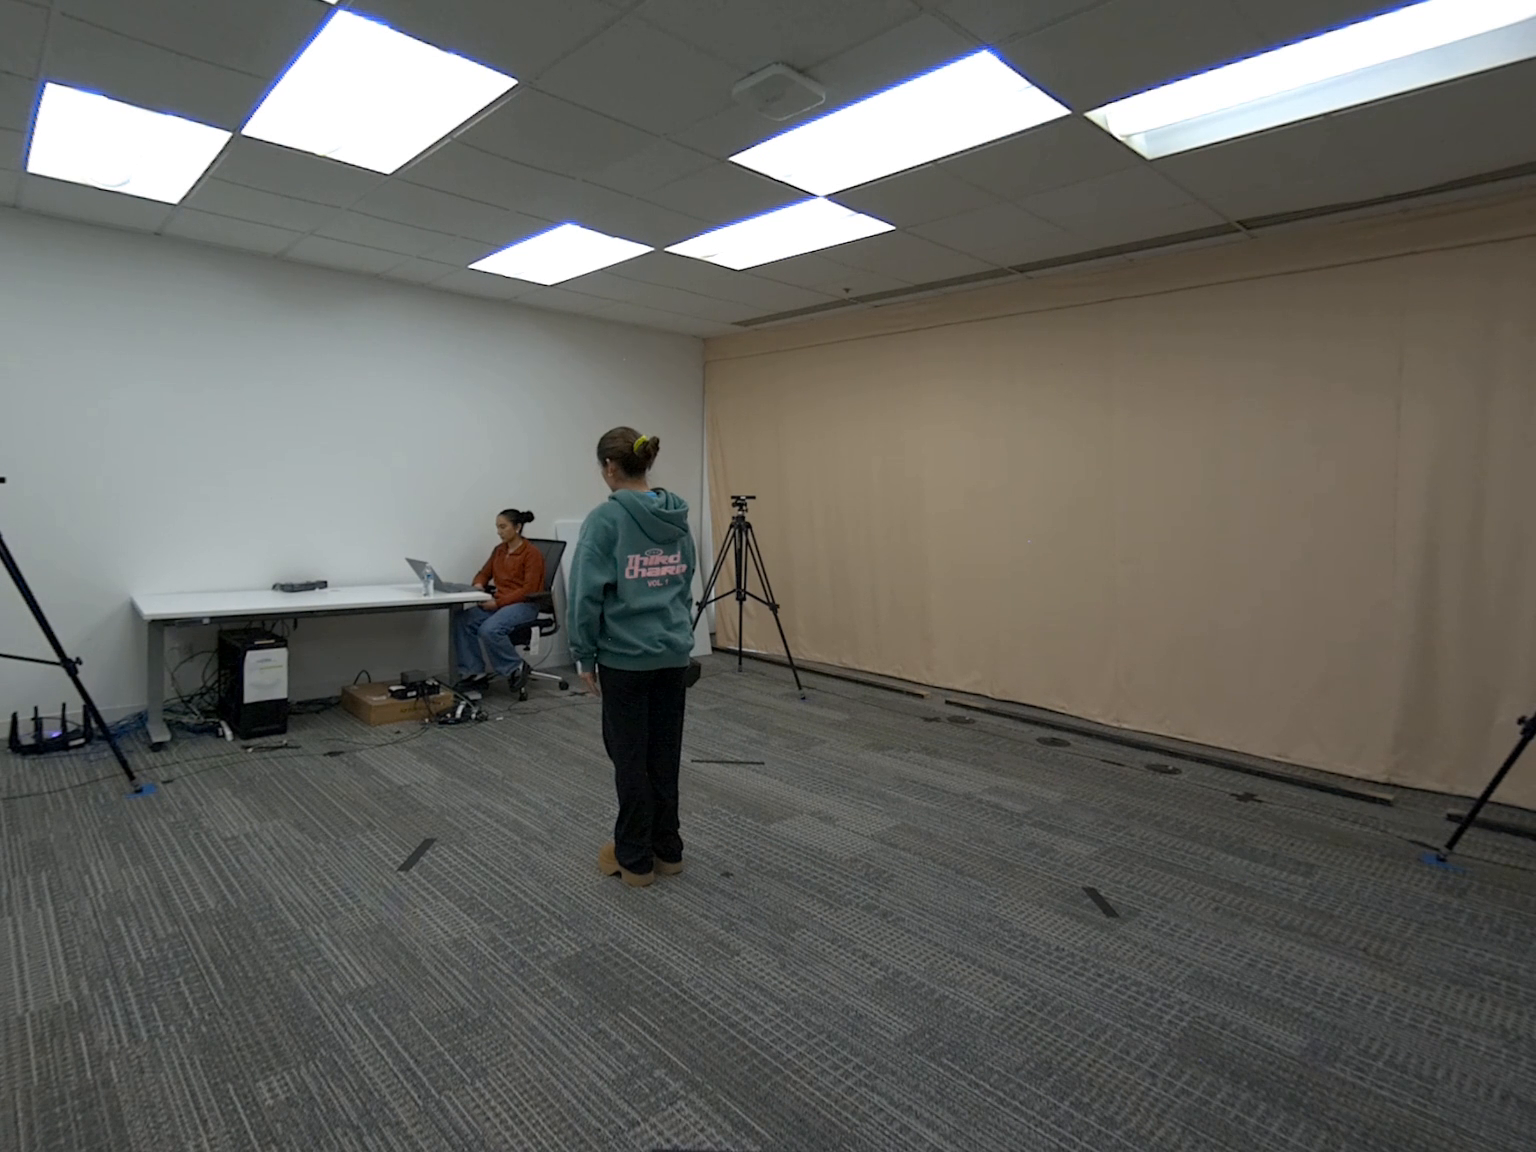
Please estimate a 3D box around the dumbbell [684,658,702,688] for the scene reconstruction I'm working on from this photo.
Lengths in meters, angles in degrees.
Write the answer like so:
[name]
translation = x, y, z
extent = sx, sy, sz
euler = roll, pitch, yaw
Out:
[dumbbell]
translation = -0.398, 0.333, 3.299
extent = 0.302, 0.105, 0.123
euler = 27, 62, 38
